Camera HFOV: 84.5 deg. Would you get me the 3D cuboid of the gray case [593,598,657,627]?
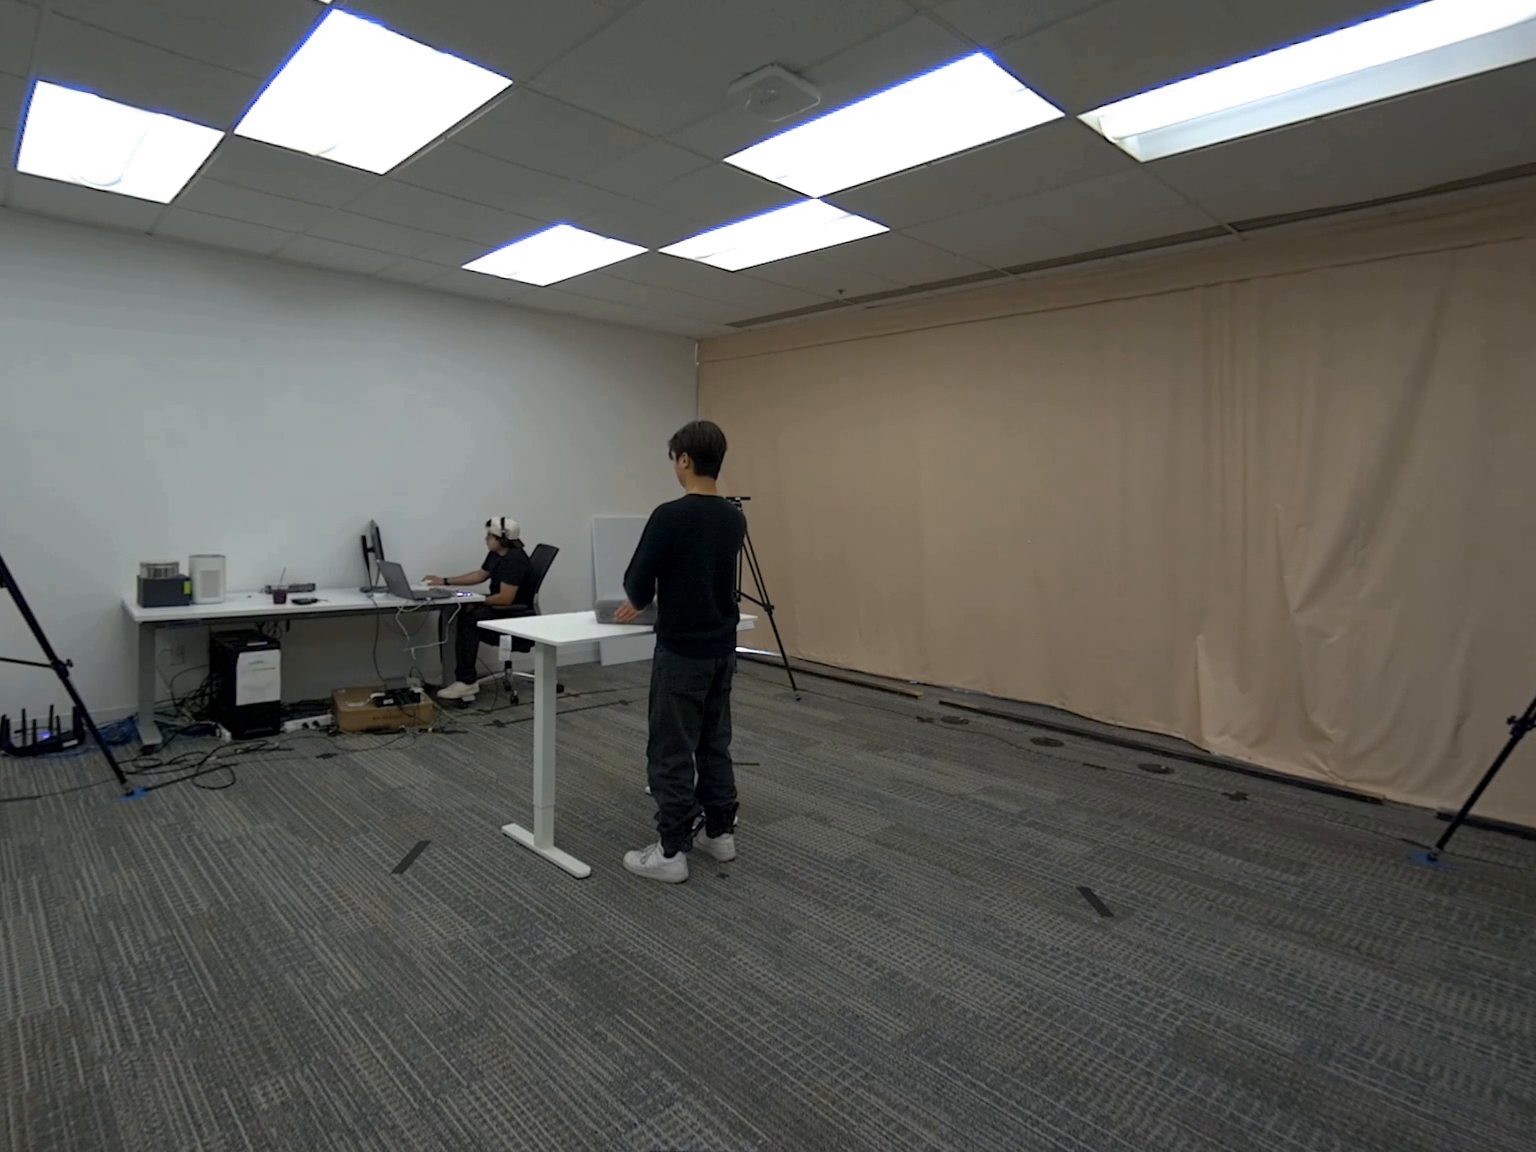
[{"bbox_3d":[-0.571,0.129,3.457,0.262,0.104,0.256,2,6,7],"label":"gray case"}]
